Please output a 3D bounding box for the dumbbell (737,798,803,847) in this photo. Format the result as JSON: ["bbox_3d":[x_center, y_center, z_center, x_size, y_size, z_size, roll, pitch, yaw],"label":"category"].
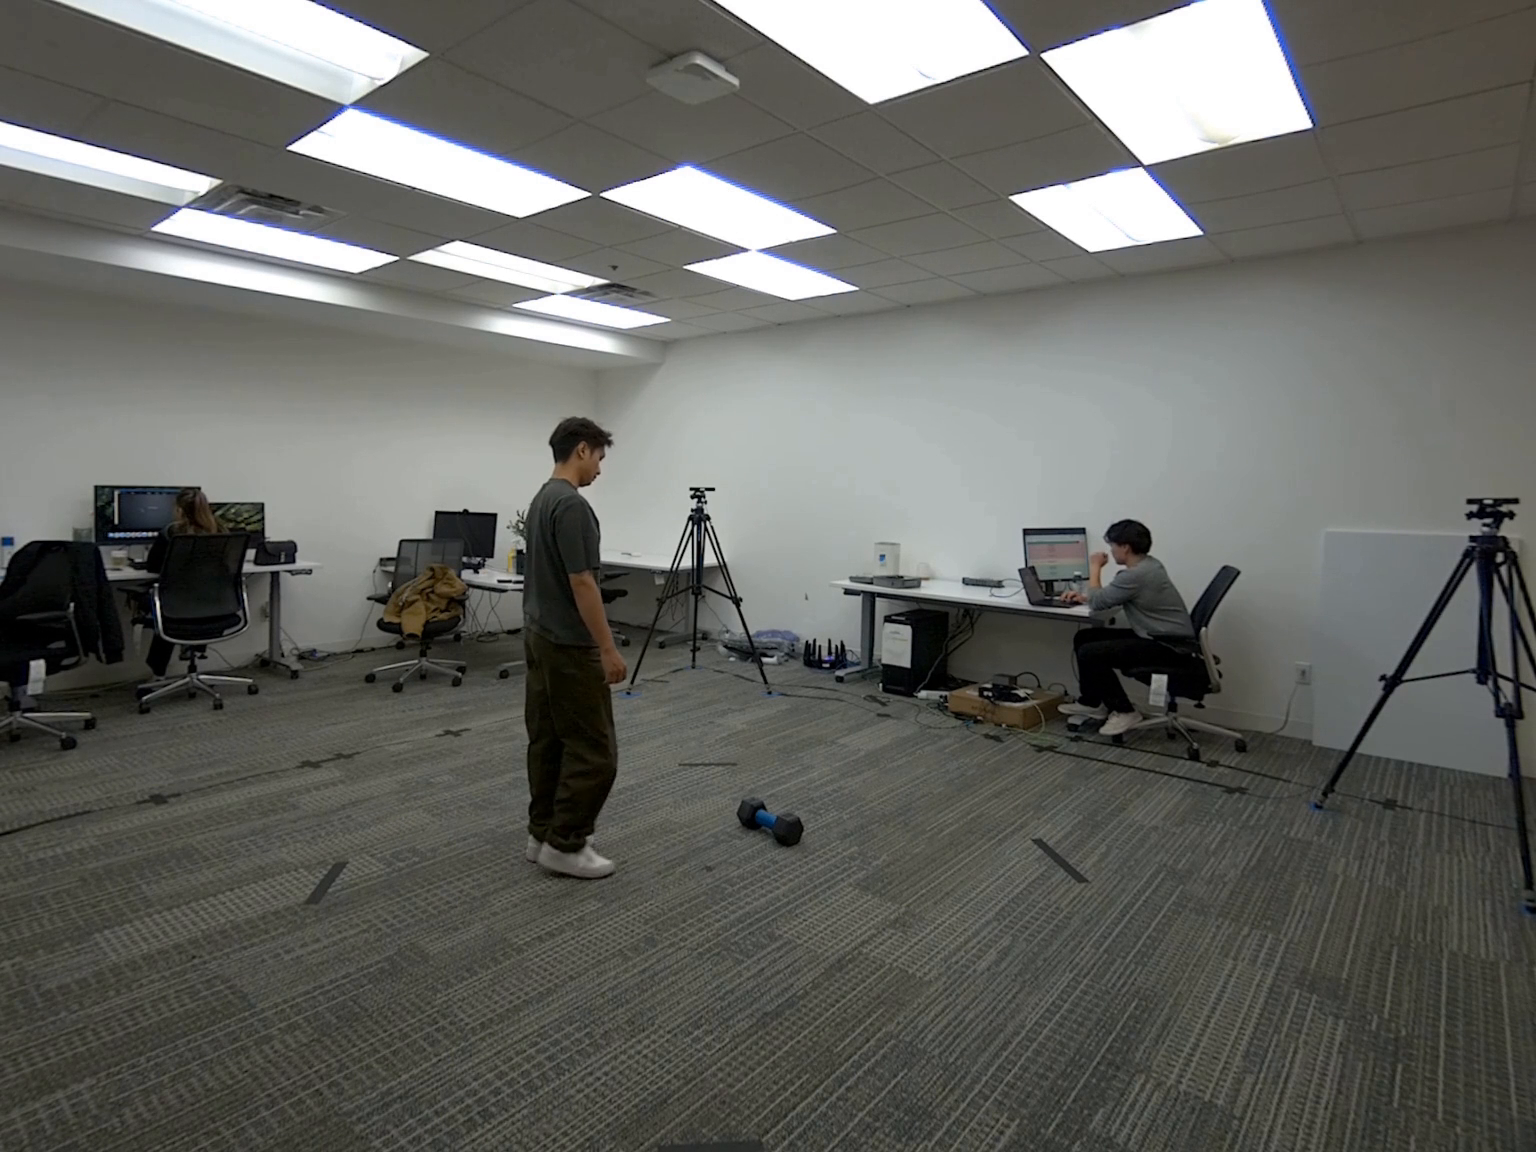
[{"bbox_3d":[-0.005,0.984,3.431,0.304,0.124,0.104,7,-23,49],"label":"dumbbell"}]
